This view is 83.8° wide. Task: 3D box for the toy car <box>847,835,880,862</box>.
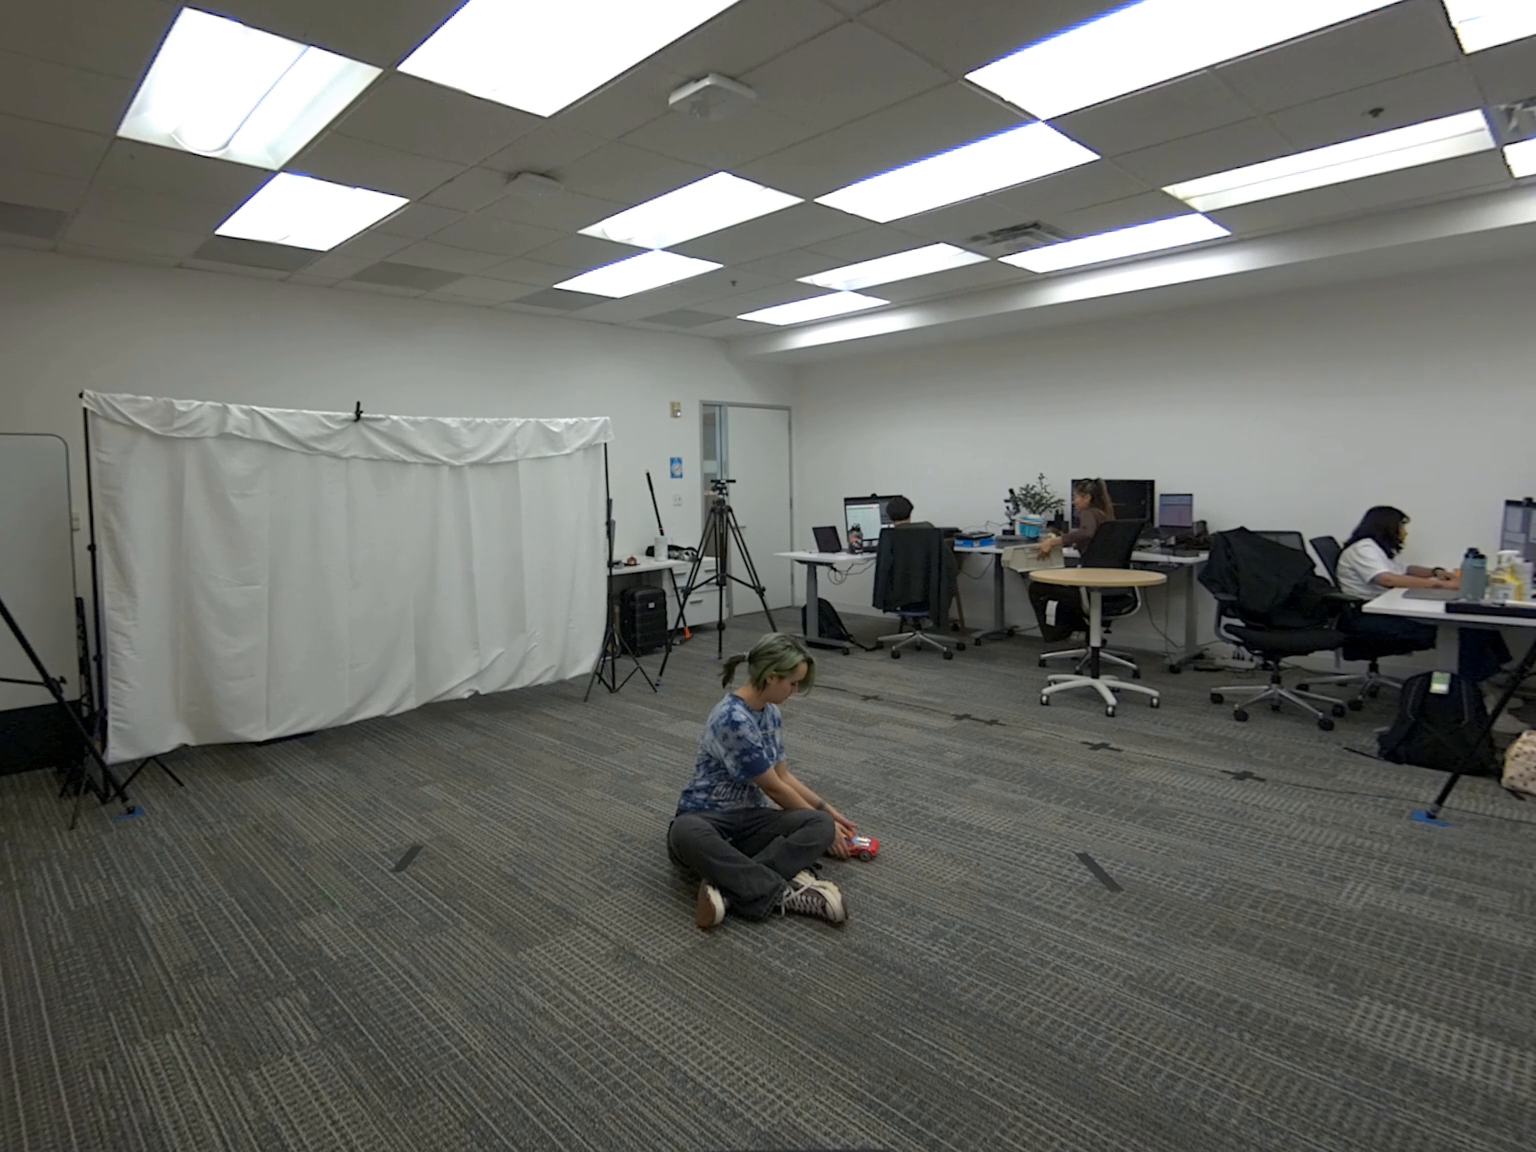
[{"bbox_3d":[0.286,0.996,3.189,0.260,0.083,0.128,13,9,20],"label":"toy car"}]
